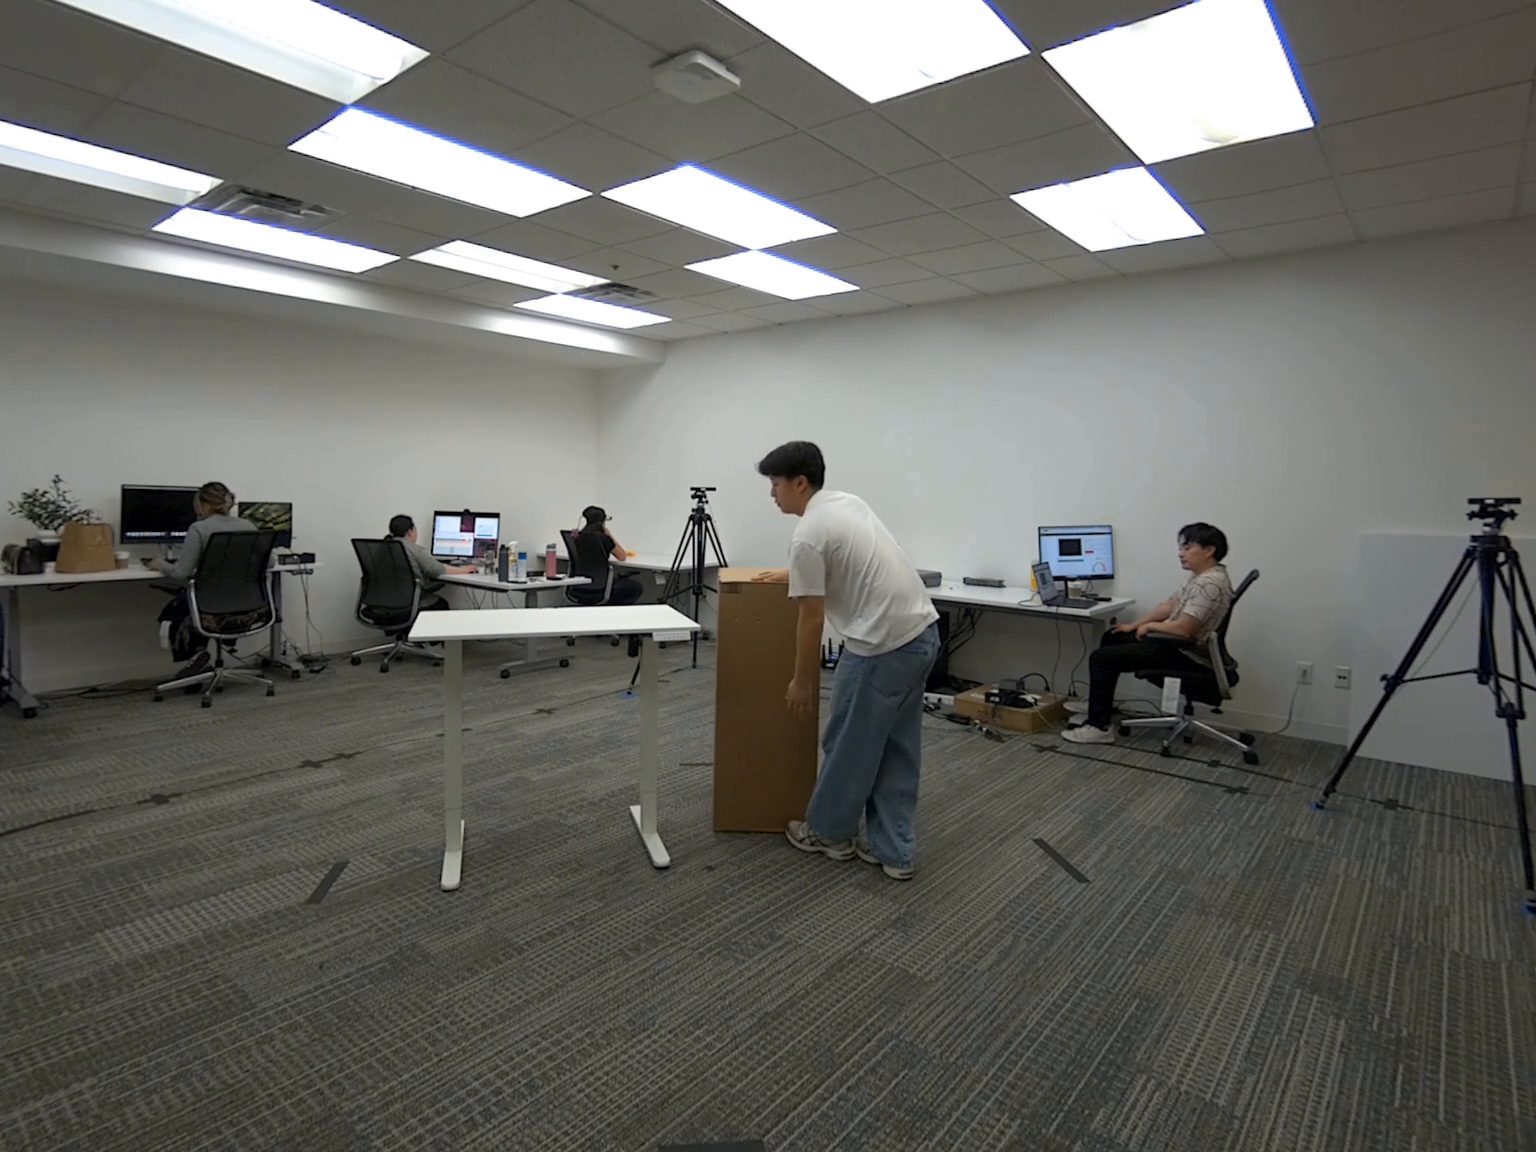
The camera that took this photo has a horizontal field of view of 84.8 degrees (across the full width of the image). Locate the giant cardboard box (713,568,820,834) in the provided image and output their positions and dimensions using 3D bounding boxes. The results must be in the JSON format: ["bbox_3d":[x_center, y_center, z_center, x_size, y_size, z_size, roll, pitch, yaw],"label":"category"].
[{"bbox_3d":[-0.028,0.501,3.706,0.426,1.023,0.580,1,4,-2],"label":"giant cardboard box"}]
